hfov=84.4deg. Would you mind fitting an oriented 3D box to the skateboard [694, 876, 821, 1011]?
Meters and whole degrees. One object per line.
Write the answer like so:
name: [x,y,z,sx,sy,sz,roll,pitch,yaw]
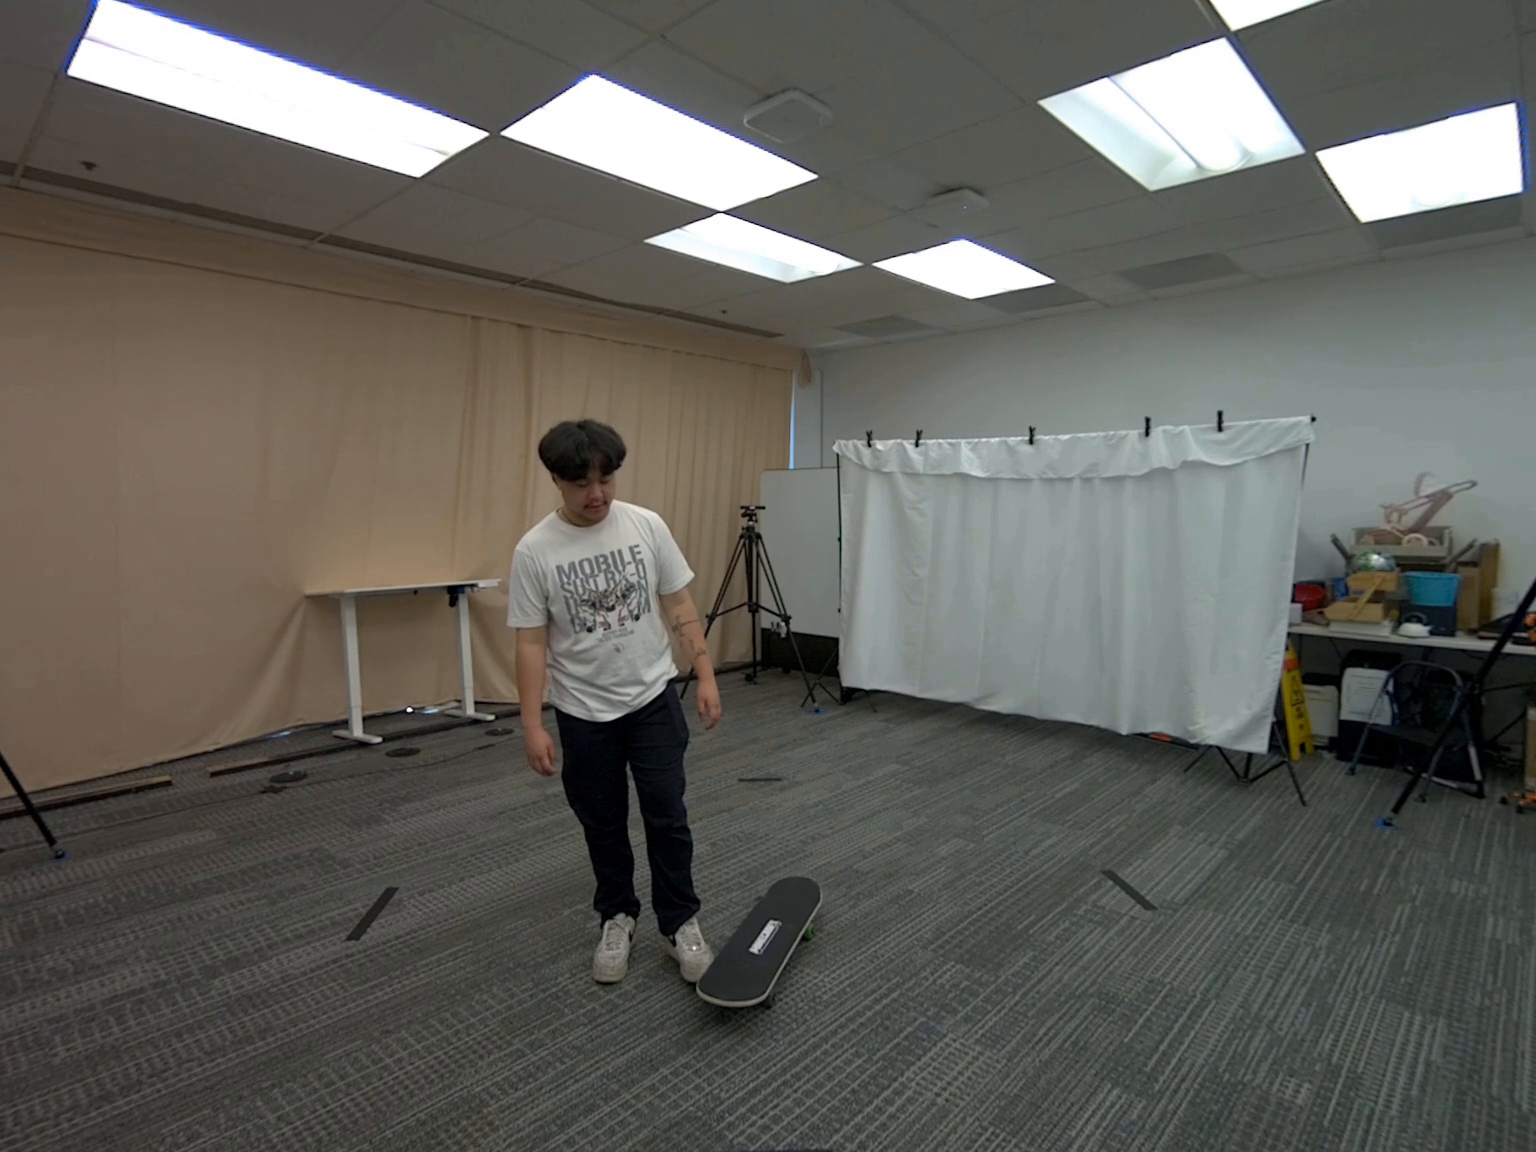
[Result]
skateboard: [-0.004,1.121,2.552,0.197,0.110,0.770,2,5,19]
